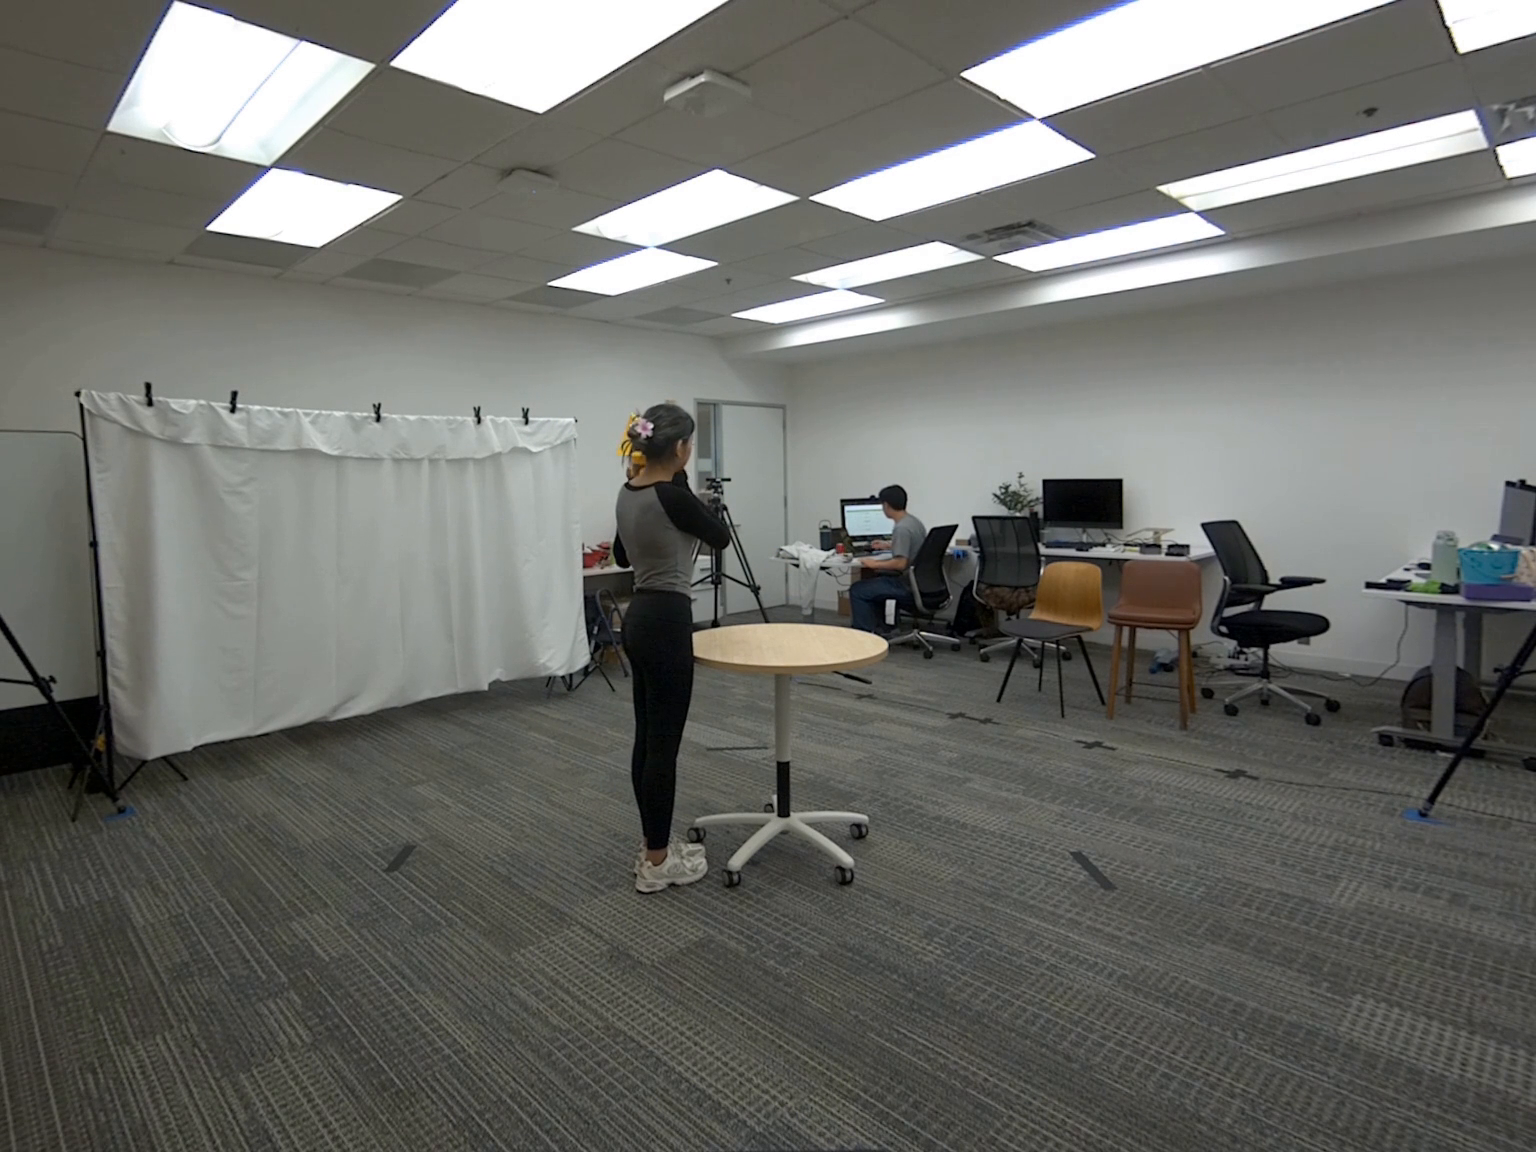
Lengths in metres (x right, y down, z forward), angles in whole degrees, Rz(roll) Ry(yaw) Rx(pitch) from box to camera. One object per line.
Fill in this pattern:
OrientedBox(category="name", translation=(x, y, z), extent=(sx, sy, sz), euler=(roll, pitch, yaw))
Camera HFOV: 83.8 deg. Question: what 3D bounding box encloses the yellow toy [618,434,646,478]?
OrientedBox(category="yellow toy", translation=(-0.433, -0.494, 3.170), extent=(0.189, 0.228, 0.211), euler=(-13, 14, -35))
